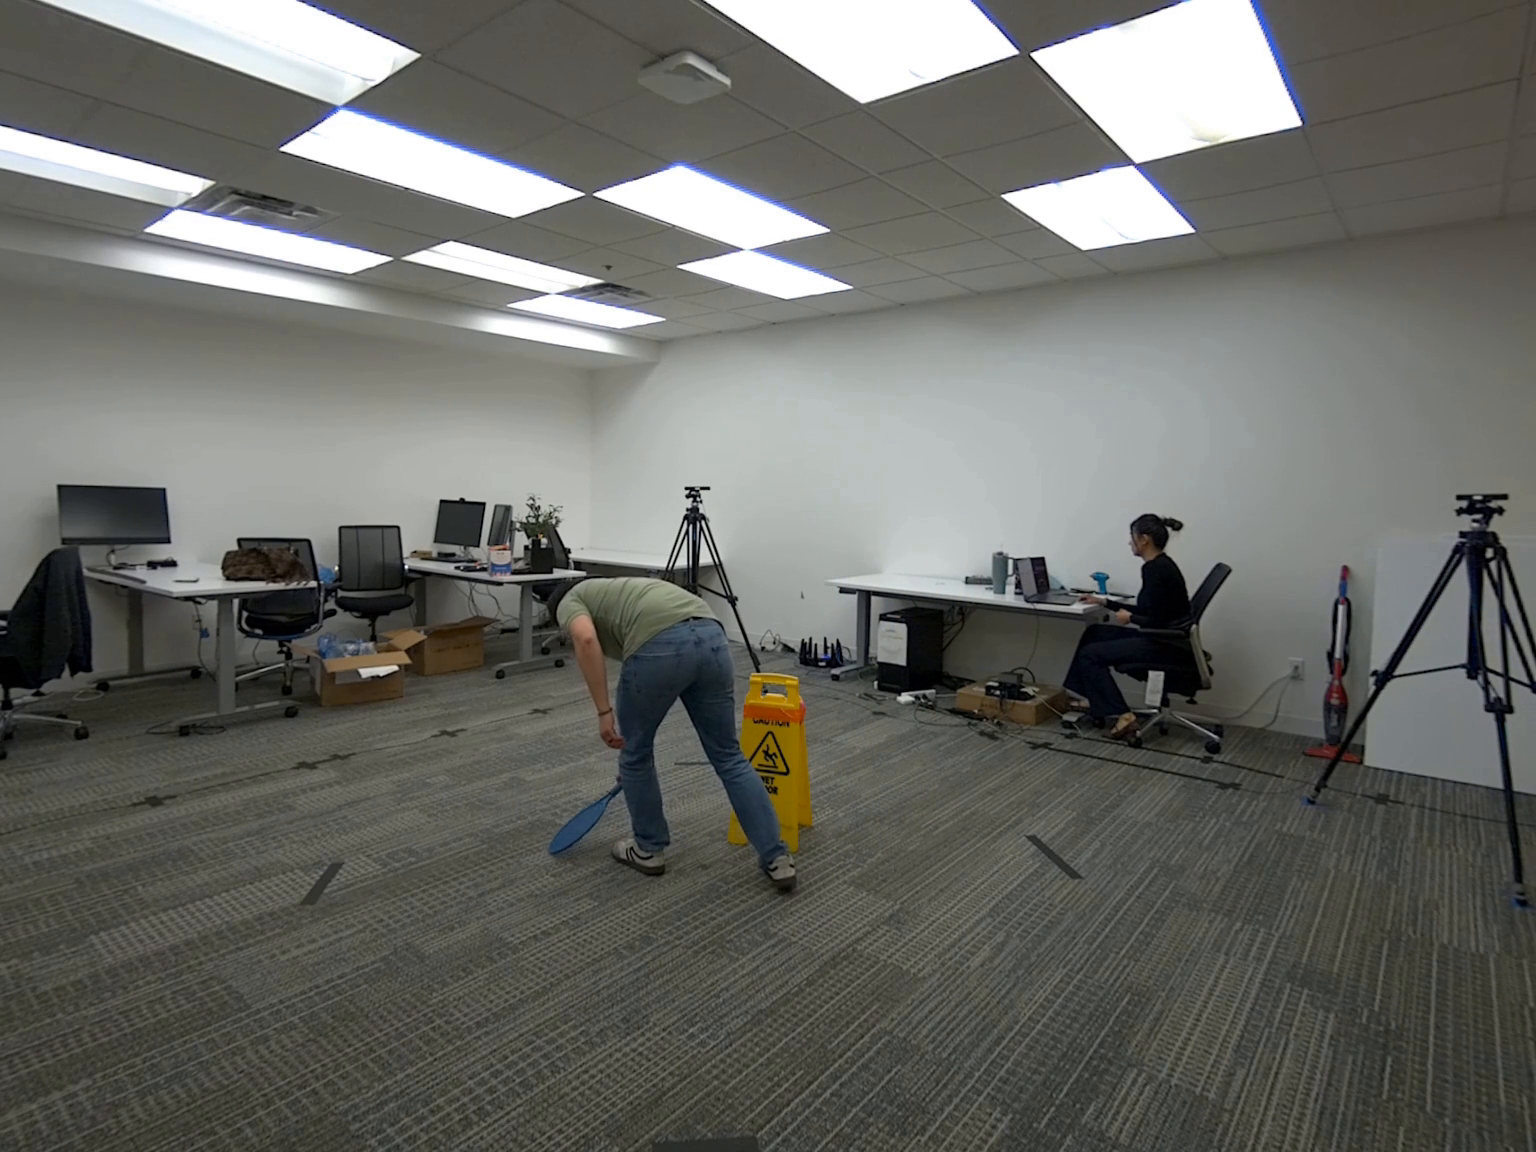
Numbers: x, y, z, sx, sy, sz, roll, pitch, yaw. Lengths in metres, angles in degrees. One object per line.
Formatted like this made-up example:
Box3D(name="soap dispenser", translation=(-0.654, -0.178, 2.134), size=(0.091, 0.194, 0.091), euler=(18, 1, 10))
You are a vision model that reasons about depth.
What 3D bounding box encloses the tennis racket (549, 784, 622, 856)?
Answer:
Box3D(name="tennis racket", translation=(-0.698, 0.919, 3.301), size=(0.431, 0.031, 0.218), euler=(-41, 16, -28))
